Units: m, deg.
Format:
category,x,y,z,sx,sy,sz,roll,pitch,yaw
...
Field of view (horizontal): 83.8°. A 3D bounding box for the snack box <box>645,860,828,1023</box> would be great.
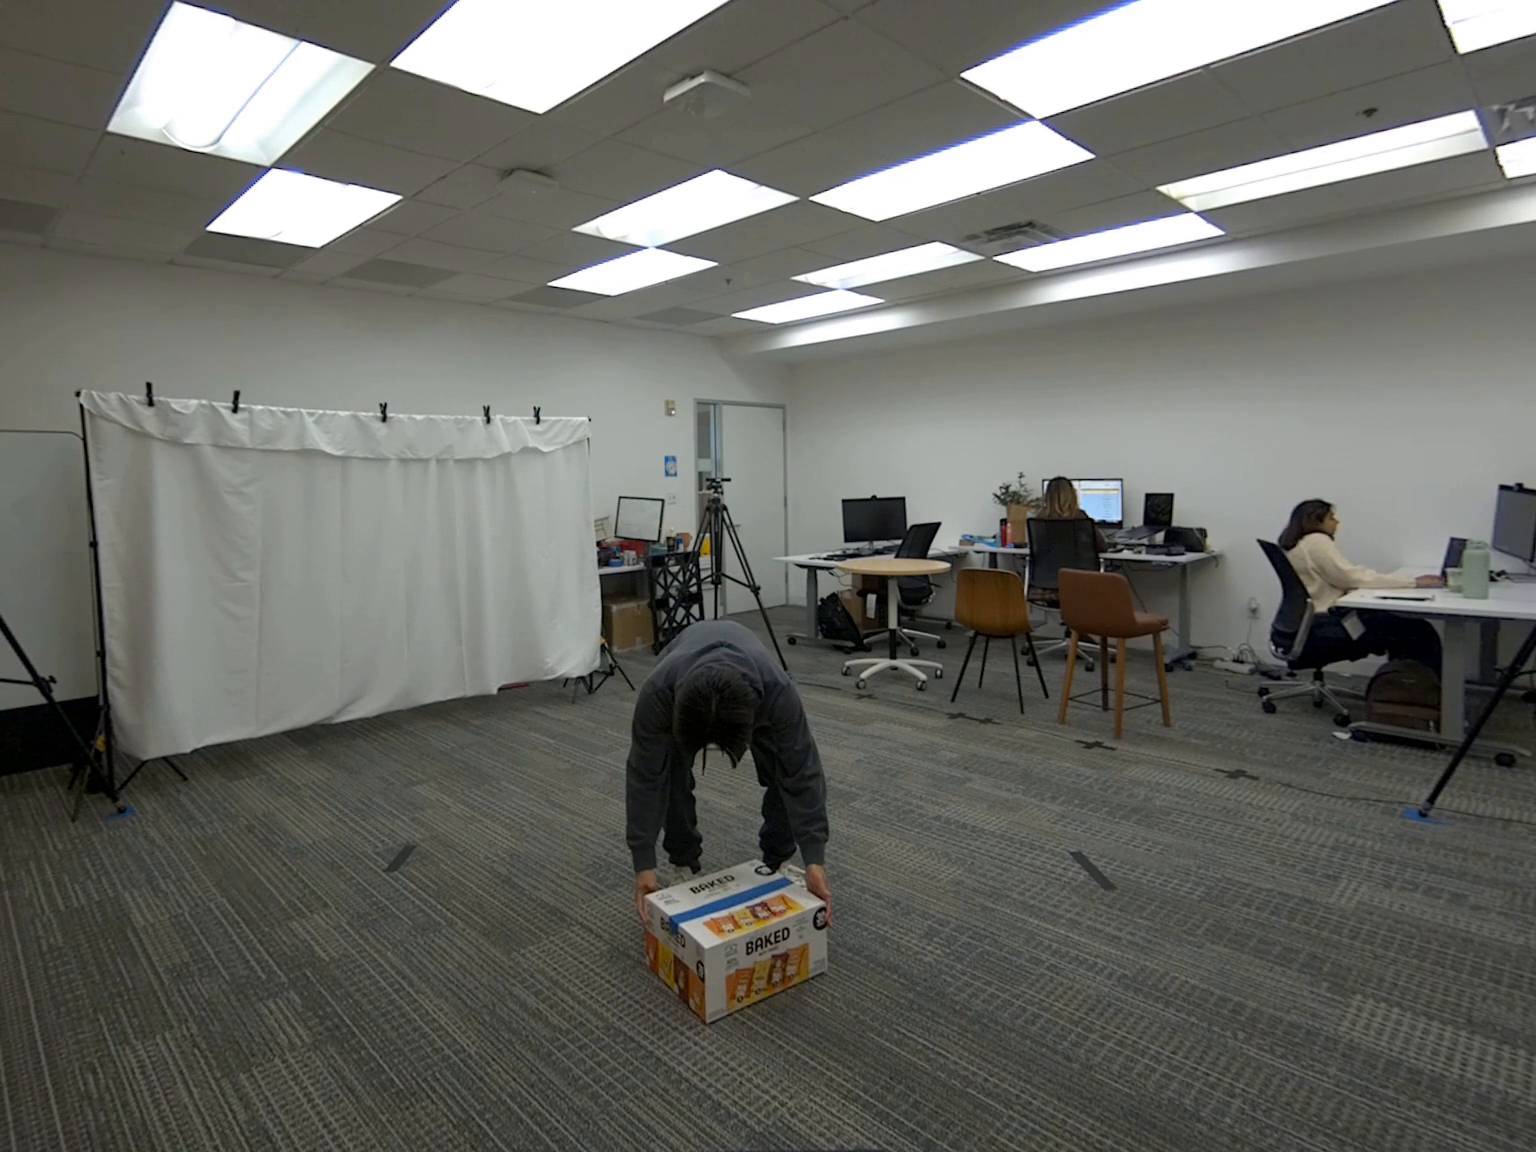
category,x,y,z,sx,sy,sz,roll,pitch,yaw
snack box,-0.094,1.015,2.432,0.395,0.205,0.350,-6,7,-34
